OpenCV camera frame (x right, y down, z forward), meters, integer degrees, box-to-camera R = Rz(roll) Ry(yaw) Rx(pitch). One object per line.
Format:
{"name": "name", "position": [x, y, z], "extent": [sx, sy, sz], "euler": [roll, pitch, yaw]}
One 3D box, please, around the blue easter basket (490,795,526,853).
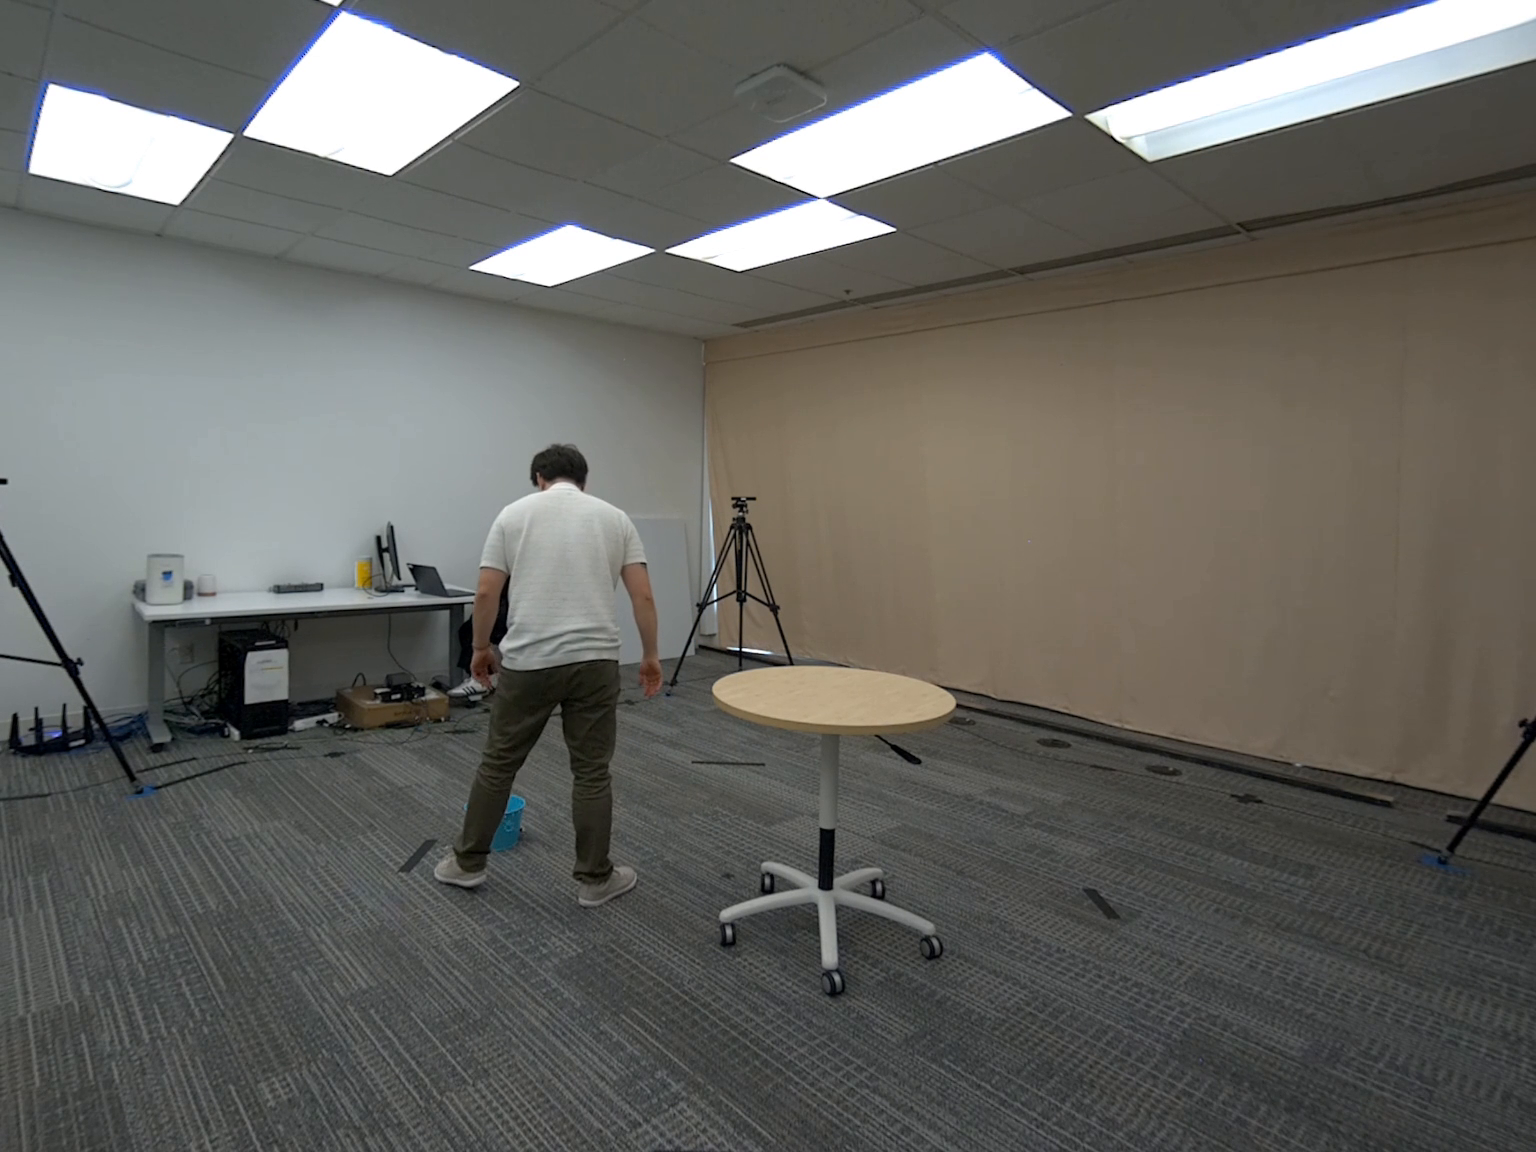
{"name": "blue easter basket", "position": [-1.096, 0.991, 3.357], "extent": [0.243, 0.155, 0.244], "euler": [2, 5, -2]}
